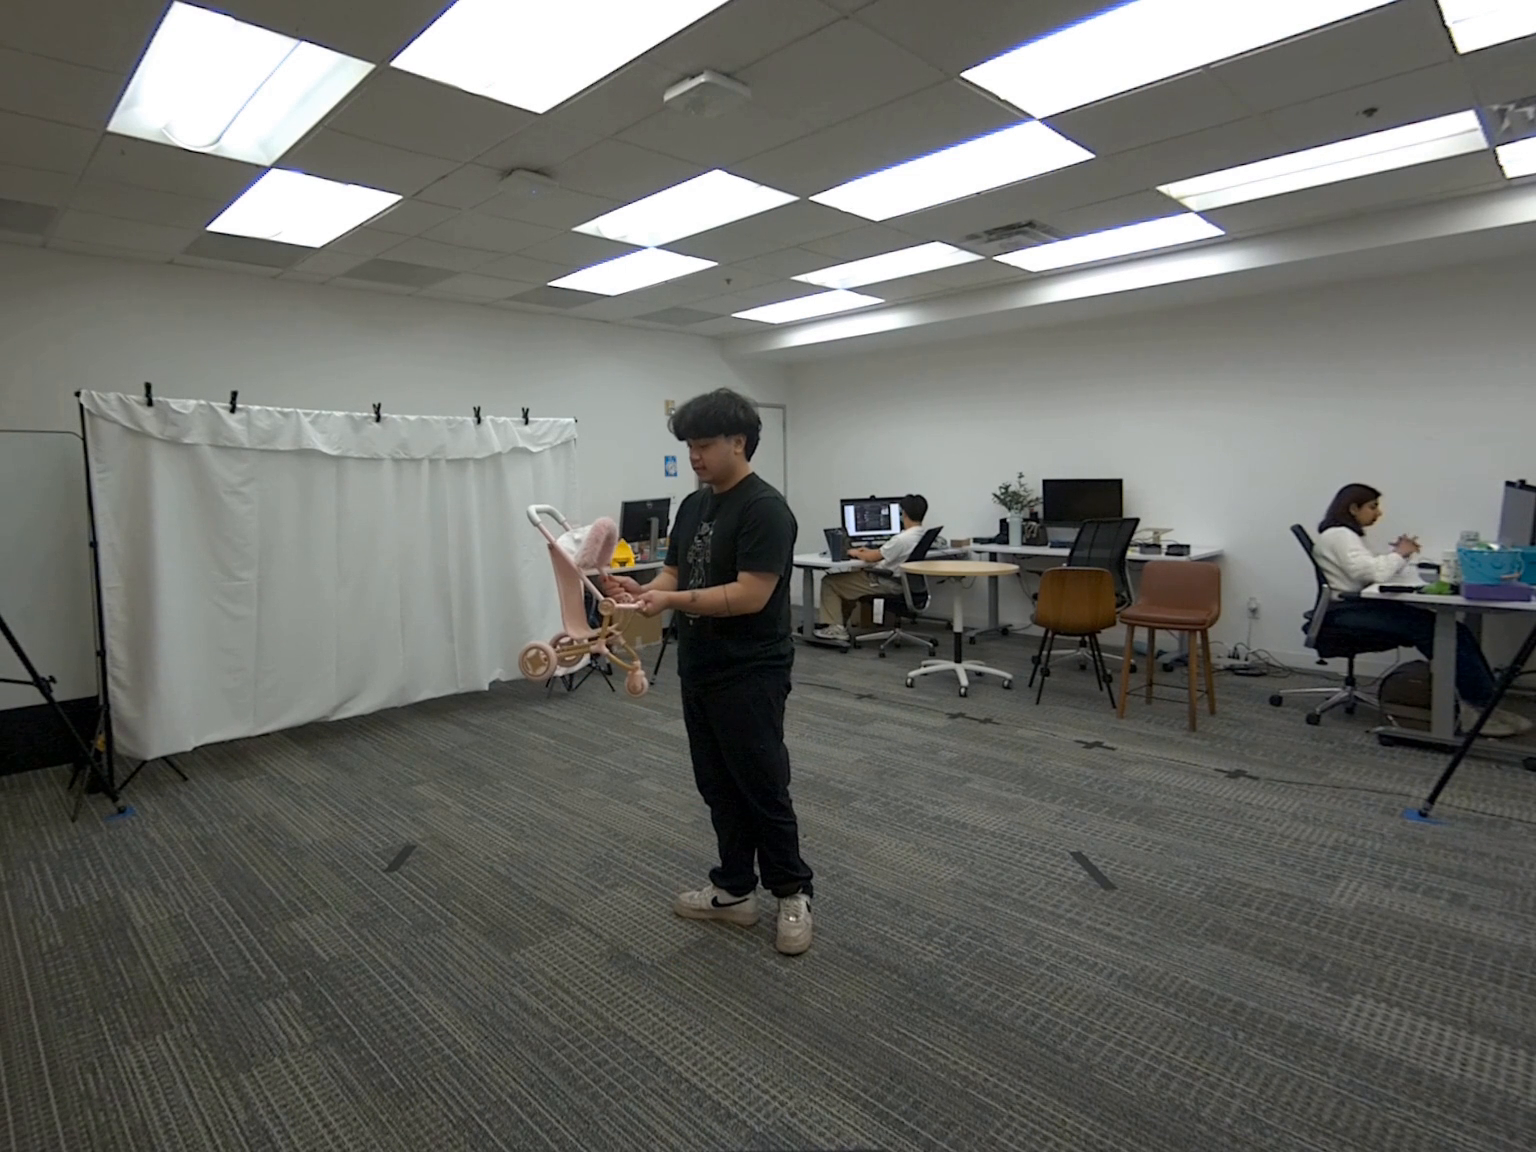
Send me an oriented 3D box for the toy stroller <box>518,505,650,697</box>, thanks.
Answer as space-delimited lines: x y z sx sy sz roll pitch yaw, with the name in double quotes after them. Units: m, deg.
-0.493 0.072 2.390 0.345 0.535 0.278 1 -1 11 "toy stroller"
